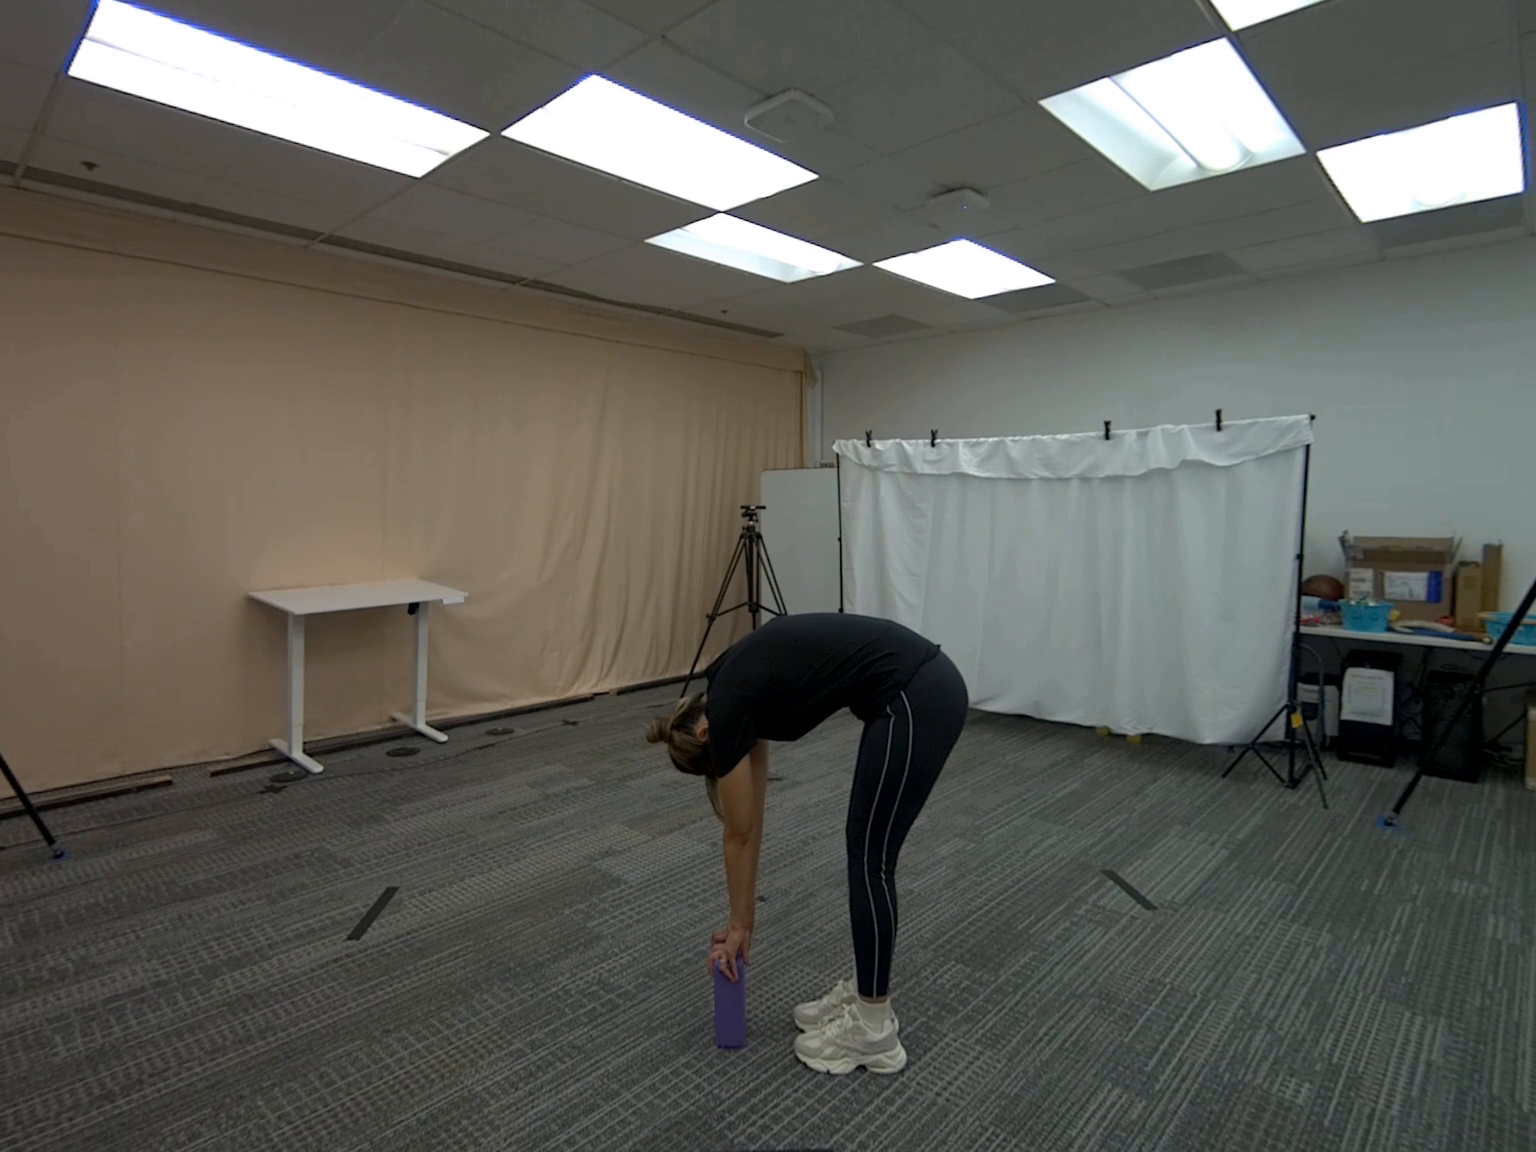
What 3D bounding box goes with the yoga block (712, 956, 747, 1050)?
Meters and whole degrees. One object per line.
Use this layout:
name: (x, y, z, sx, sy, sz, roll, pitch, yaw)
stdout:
yoga block: (-0.098, 1.101, 2.223, 0.076, 0.229, 0.149, 1, 1, 0)
